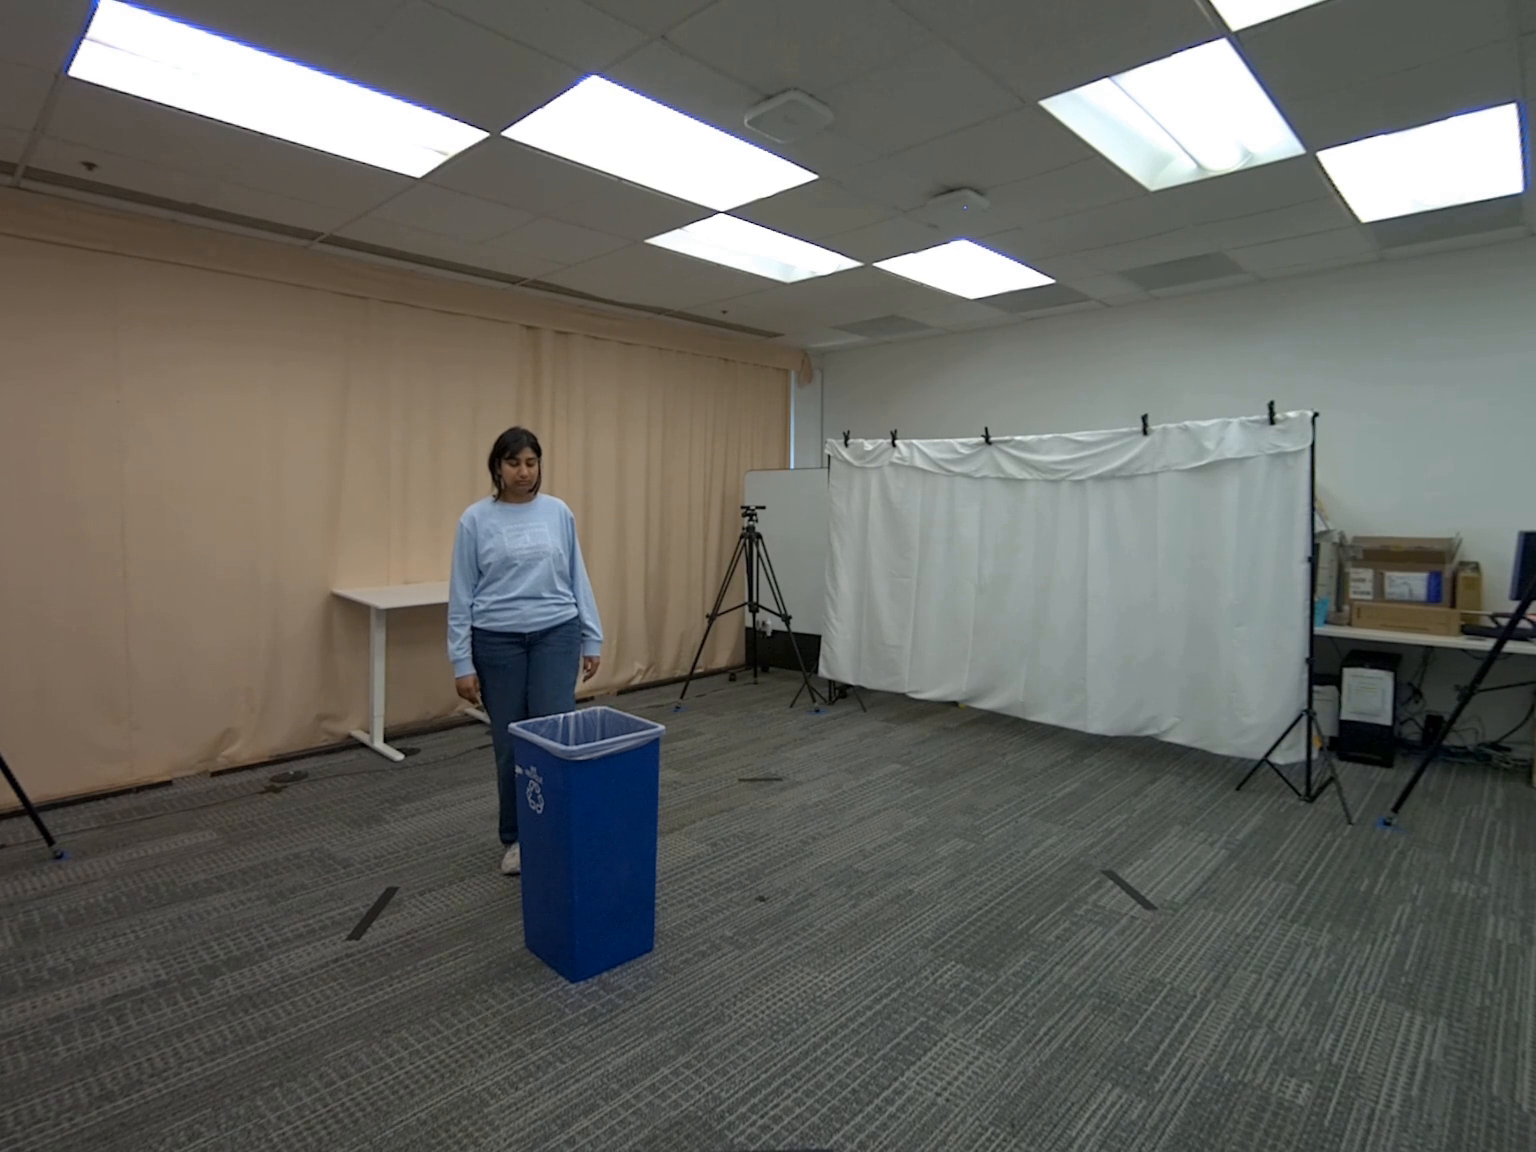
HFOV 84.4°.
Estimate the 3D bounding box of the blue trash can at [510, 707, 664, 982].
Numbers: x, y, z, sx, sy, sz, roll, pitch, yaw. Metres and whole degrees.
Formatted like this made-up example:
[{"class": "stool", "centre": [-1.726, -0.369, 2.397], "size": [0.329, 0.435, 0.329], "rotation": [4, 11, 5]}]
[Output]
[{"class": "blue trash can", "centre": [-0.555, 0.821, 2.635], "size": [0.366, 0.712, 0.386], "rotation": [-3, 5, -43]}]
